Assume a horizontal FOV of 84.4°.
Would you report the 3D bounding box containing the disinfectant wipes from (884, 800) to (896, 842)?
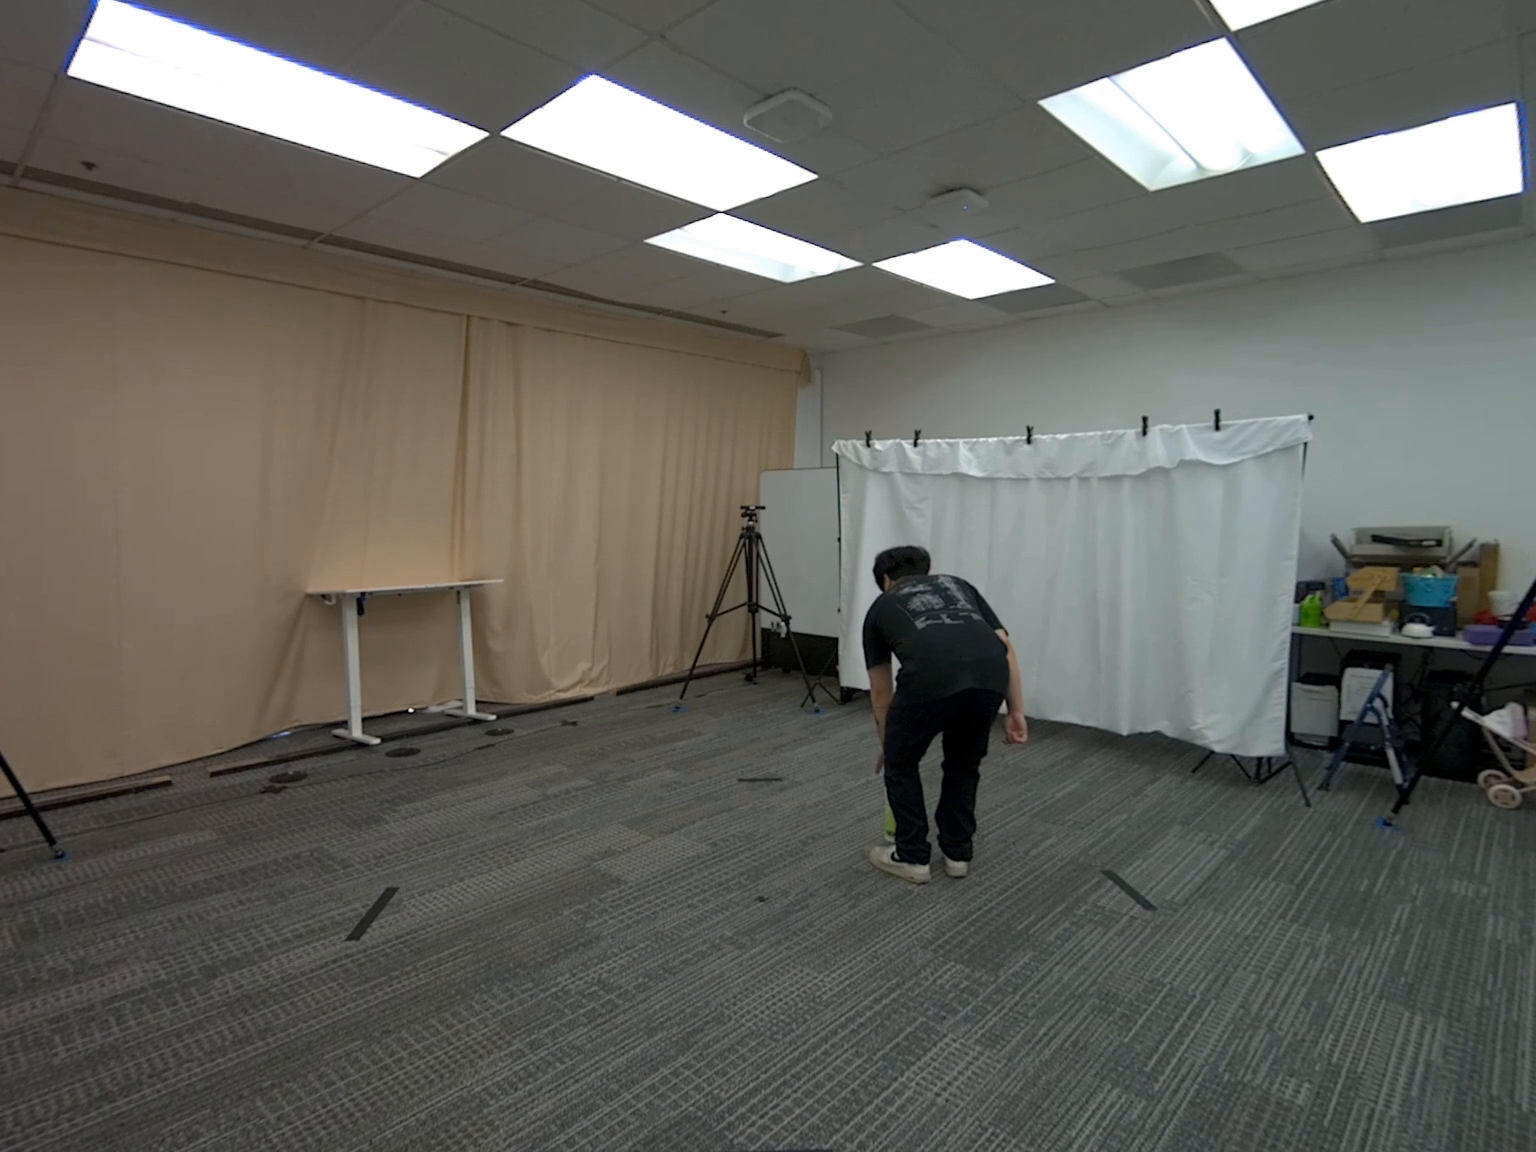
[{"bbox_3d":[0.552,0.998,3.500,0.117,0.217,0.118,2,3,-2],"label":"disinfectant wipes"}]
